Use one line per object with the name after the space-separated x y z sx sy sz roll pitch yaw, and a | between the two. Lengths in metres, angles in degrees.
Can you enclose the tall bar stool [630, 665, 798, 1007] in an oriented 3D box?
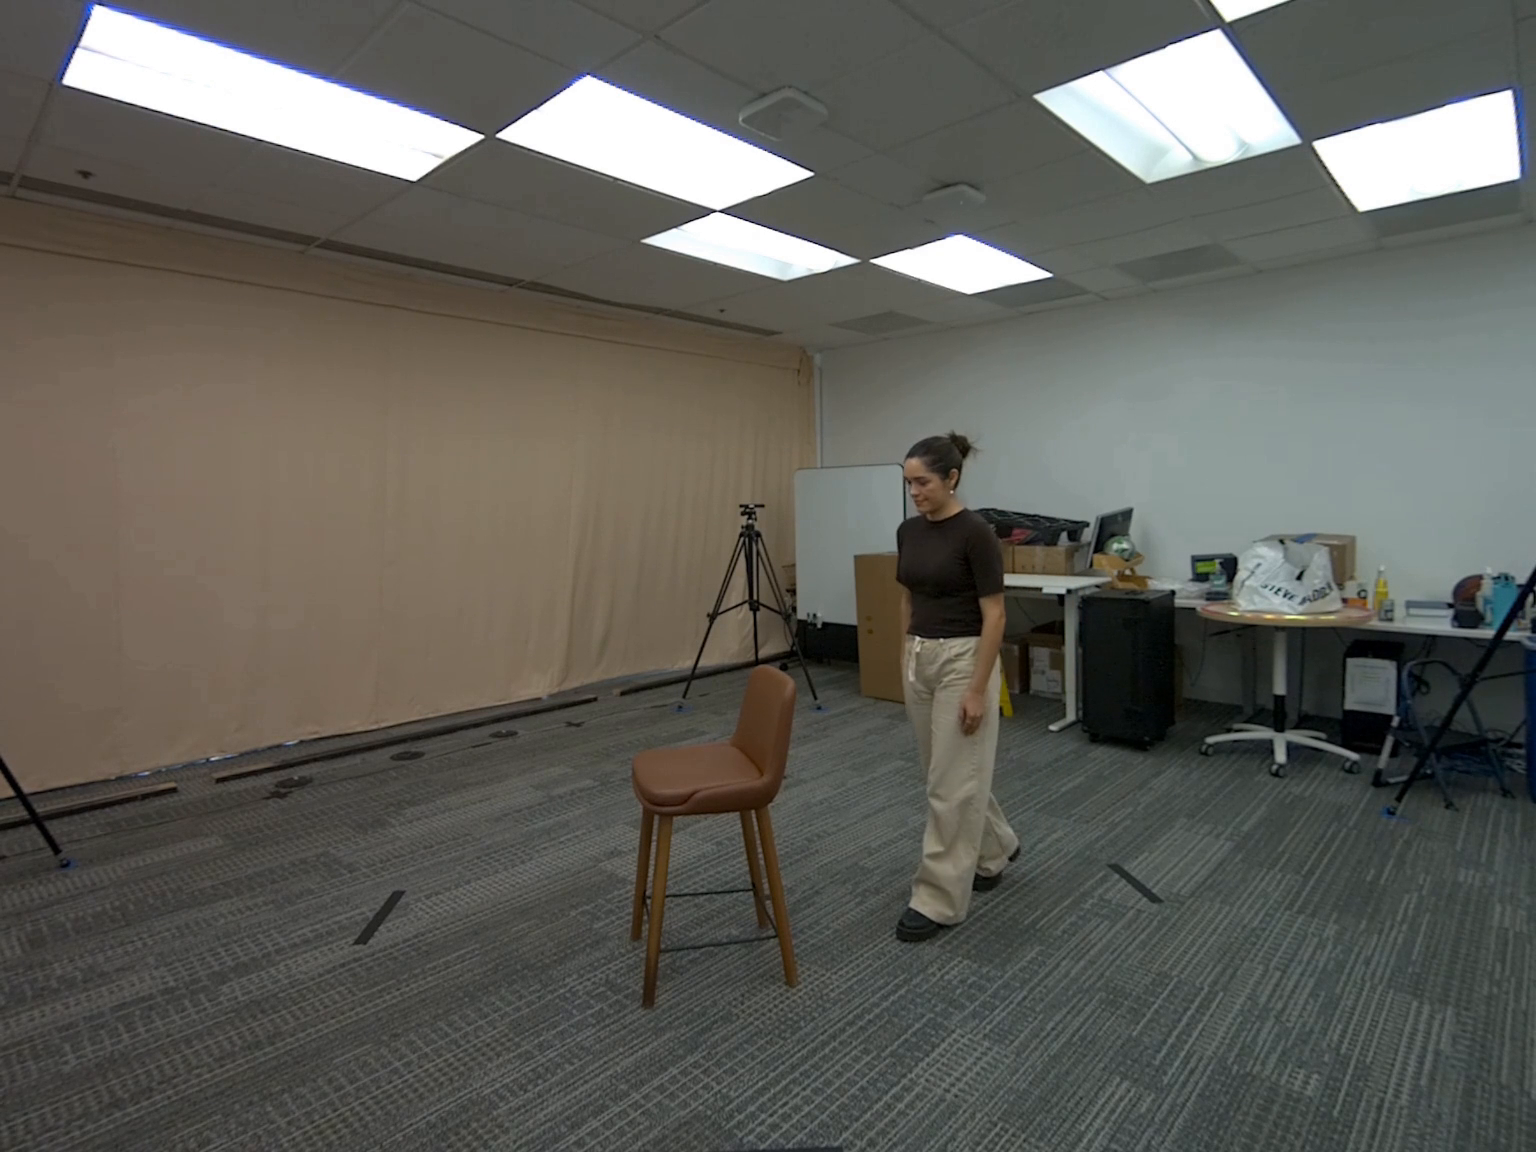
-0.171 0.743 2.552 0.461 0.888 0.463 0 3 -13 | tall bar stool
